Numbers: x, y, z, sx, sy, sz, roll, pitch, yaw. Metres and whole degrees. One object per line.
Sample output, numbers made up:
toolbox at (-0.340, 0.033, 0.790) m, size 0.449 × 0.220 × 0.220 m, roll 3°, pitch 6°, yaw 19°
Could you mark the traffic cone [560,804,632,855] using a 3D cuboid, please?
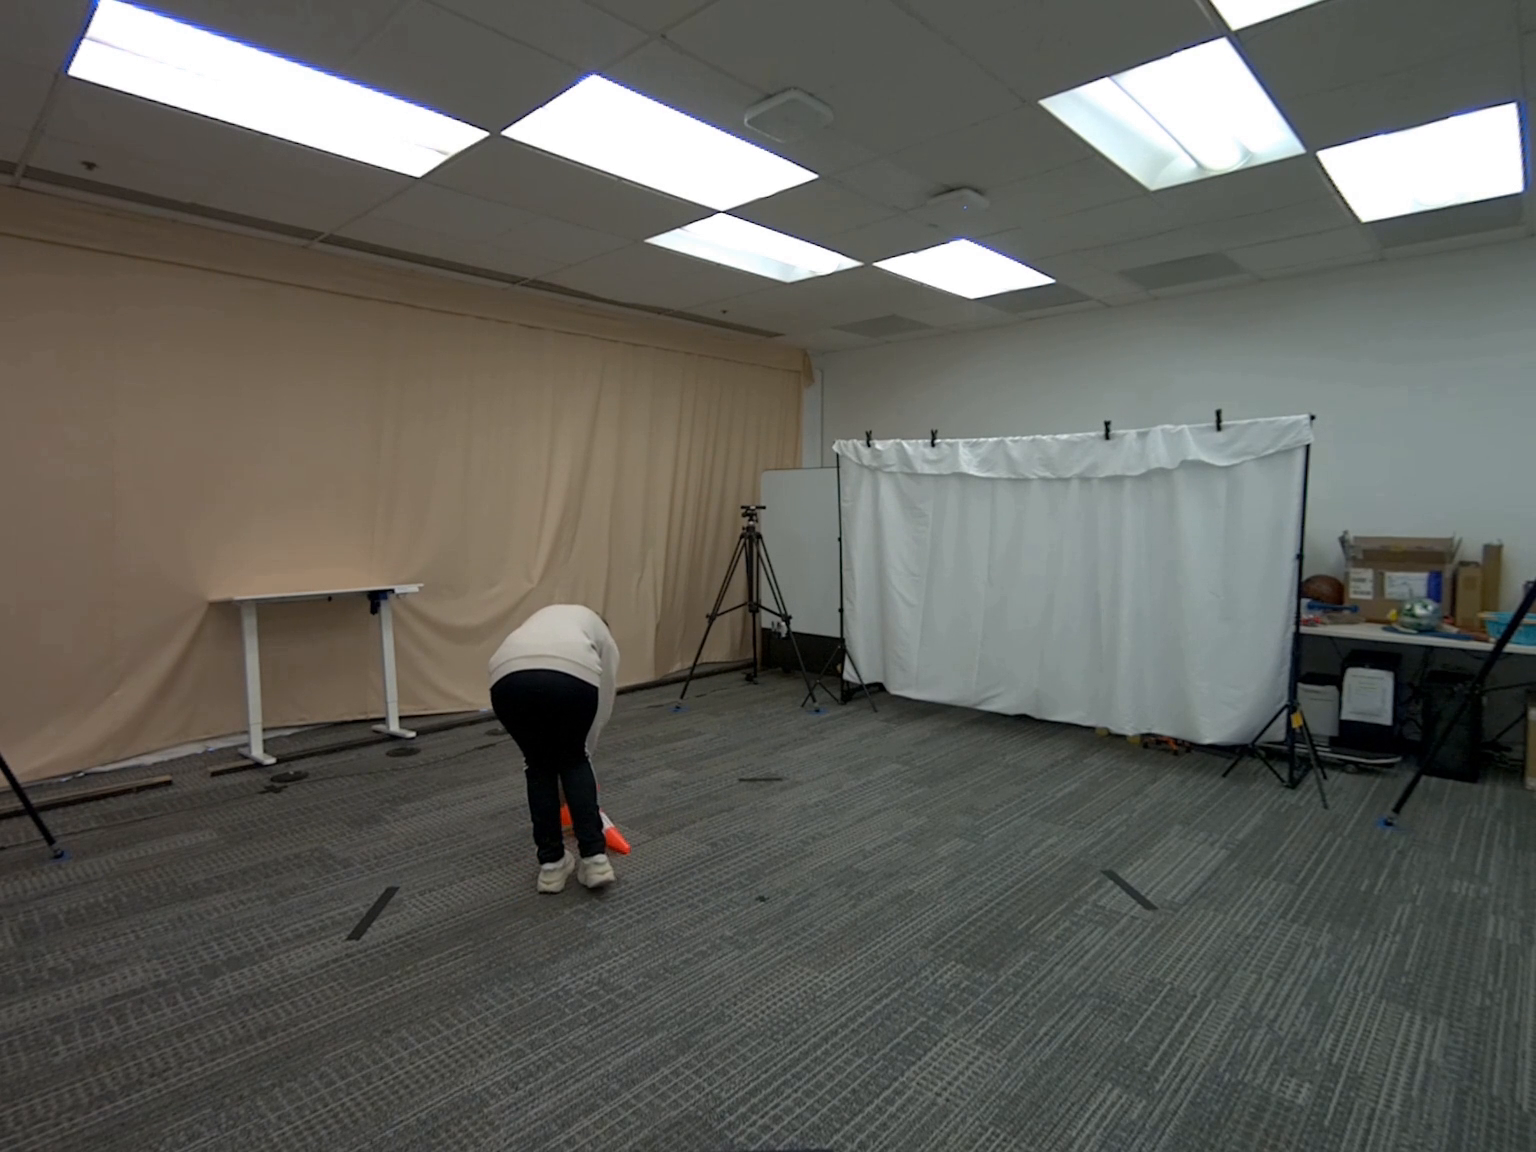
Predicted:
traffic cone at (-0.710, 1.045, 3.497) m, size 0.398 × 0.203 × 0.198 m, roll 22°, pitch 6°, yaw 40°
